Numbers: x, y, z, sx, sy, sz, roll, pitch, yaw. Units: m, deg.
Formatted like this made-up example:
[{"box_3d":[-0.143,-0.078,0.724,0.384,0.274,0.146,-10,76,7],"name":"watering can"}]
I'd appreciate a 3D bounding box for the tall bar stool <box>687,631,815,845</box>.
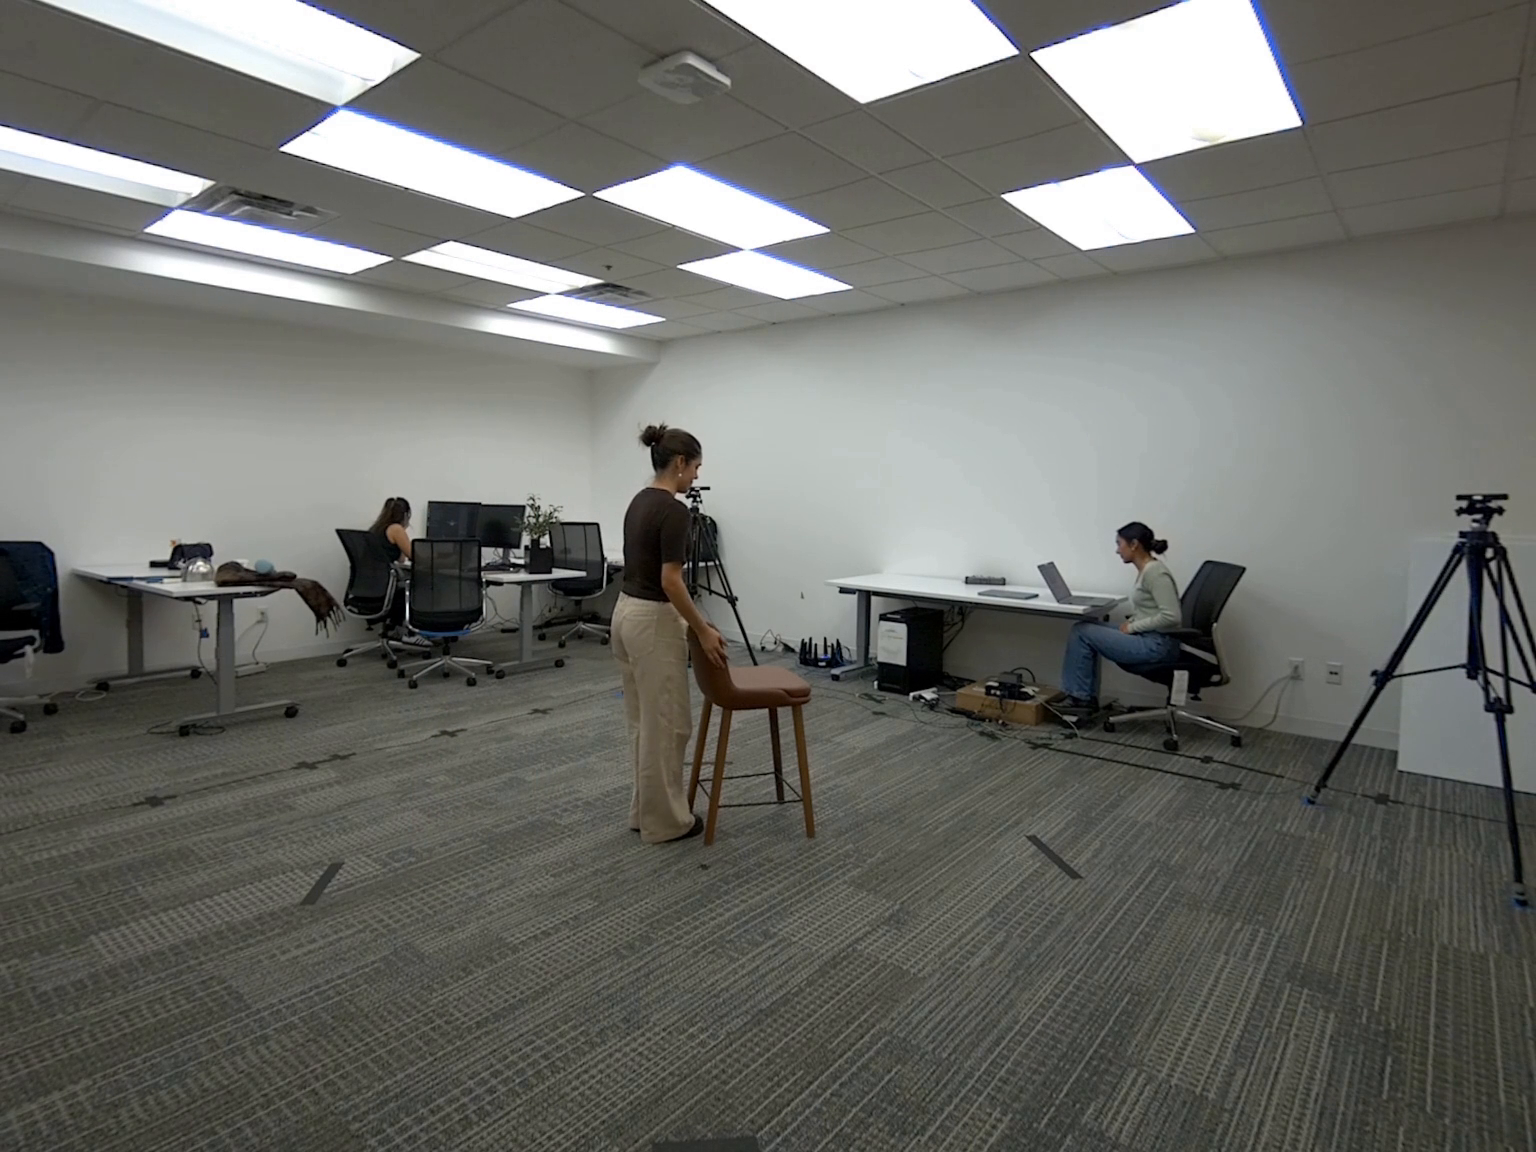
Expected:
[{"box_3d":[-0.092,0.592,3.515,0.460,0.887,0.466,-2,4,-17],"name":"tall bar stool"}]
